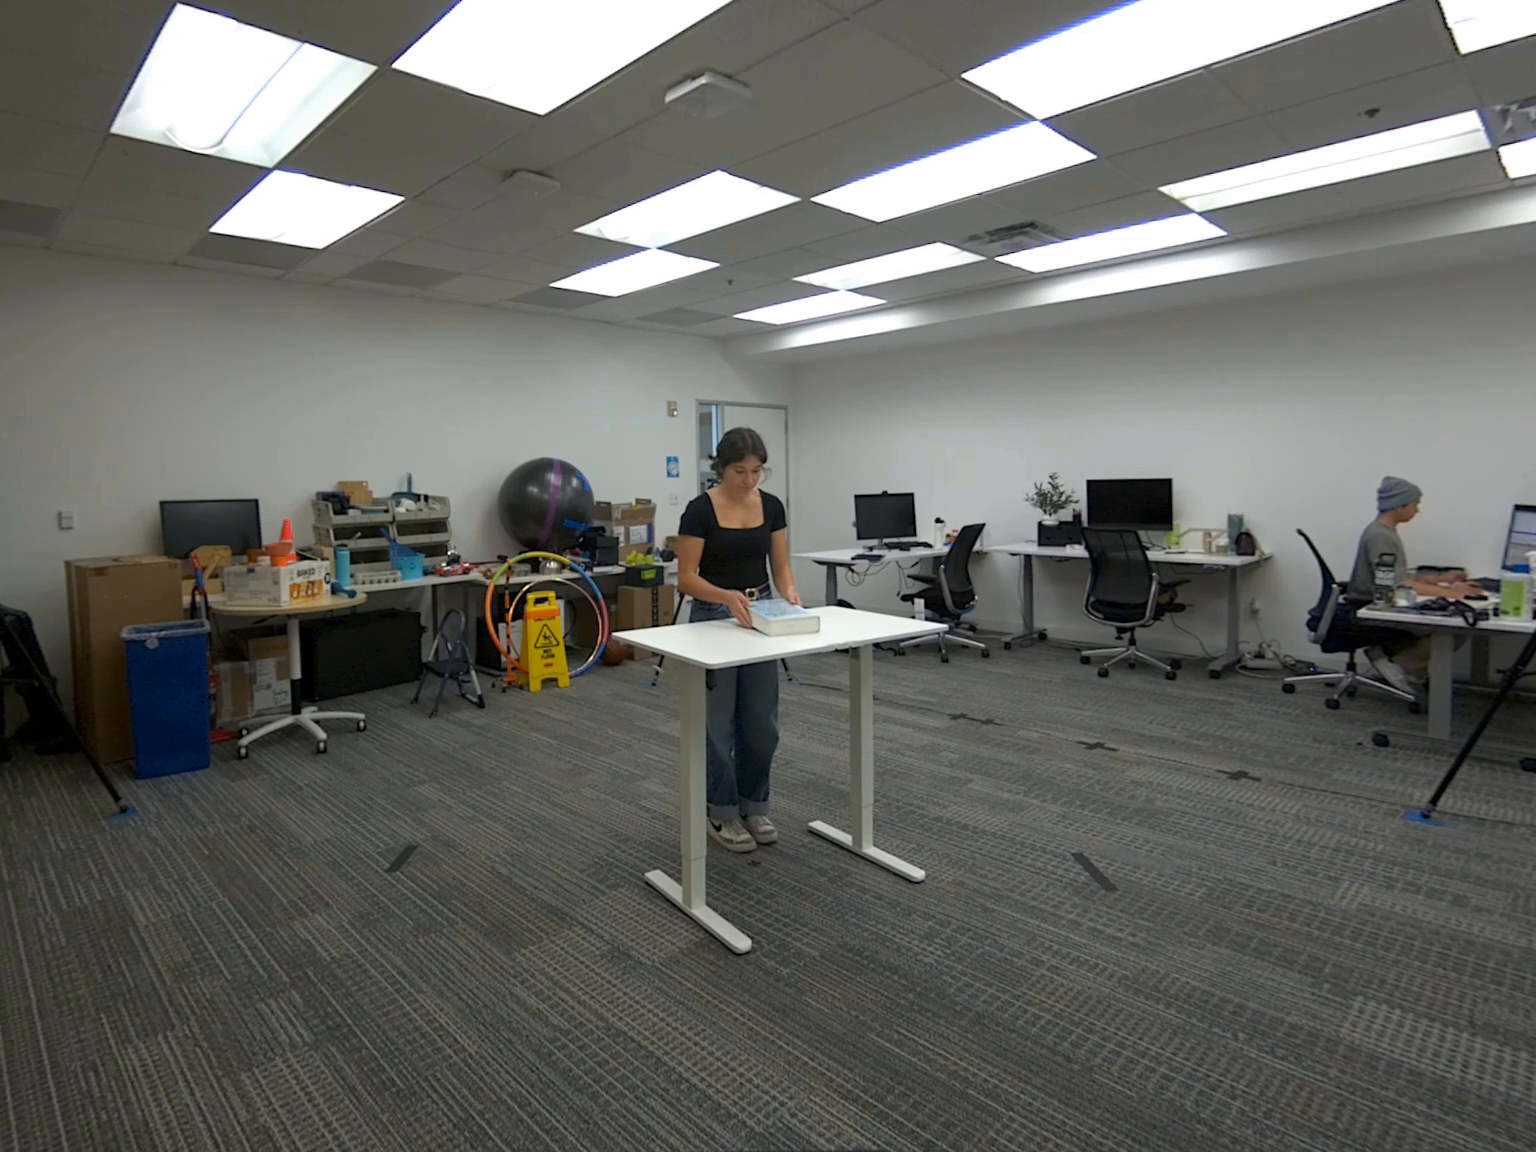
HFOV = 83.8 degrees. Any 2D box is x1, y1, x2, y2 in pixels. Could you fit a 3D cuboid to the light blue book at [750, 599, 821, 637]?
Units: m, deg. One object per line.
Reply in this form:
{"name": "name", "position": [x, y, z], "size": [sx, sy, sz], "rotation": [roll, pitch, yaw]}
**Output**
{"name": "light blue book", "position": [0.023, 0.143, 2.919], "size": [0.187, 0.058, 0.269], "rotation": [-2, 10, -27]}
